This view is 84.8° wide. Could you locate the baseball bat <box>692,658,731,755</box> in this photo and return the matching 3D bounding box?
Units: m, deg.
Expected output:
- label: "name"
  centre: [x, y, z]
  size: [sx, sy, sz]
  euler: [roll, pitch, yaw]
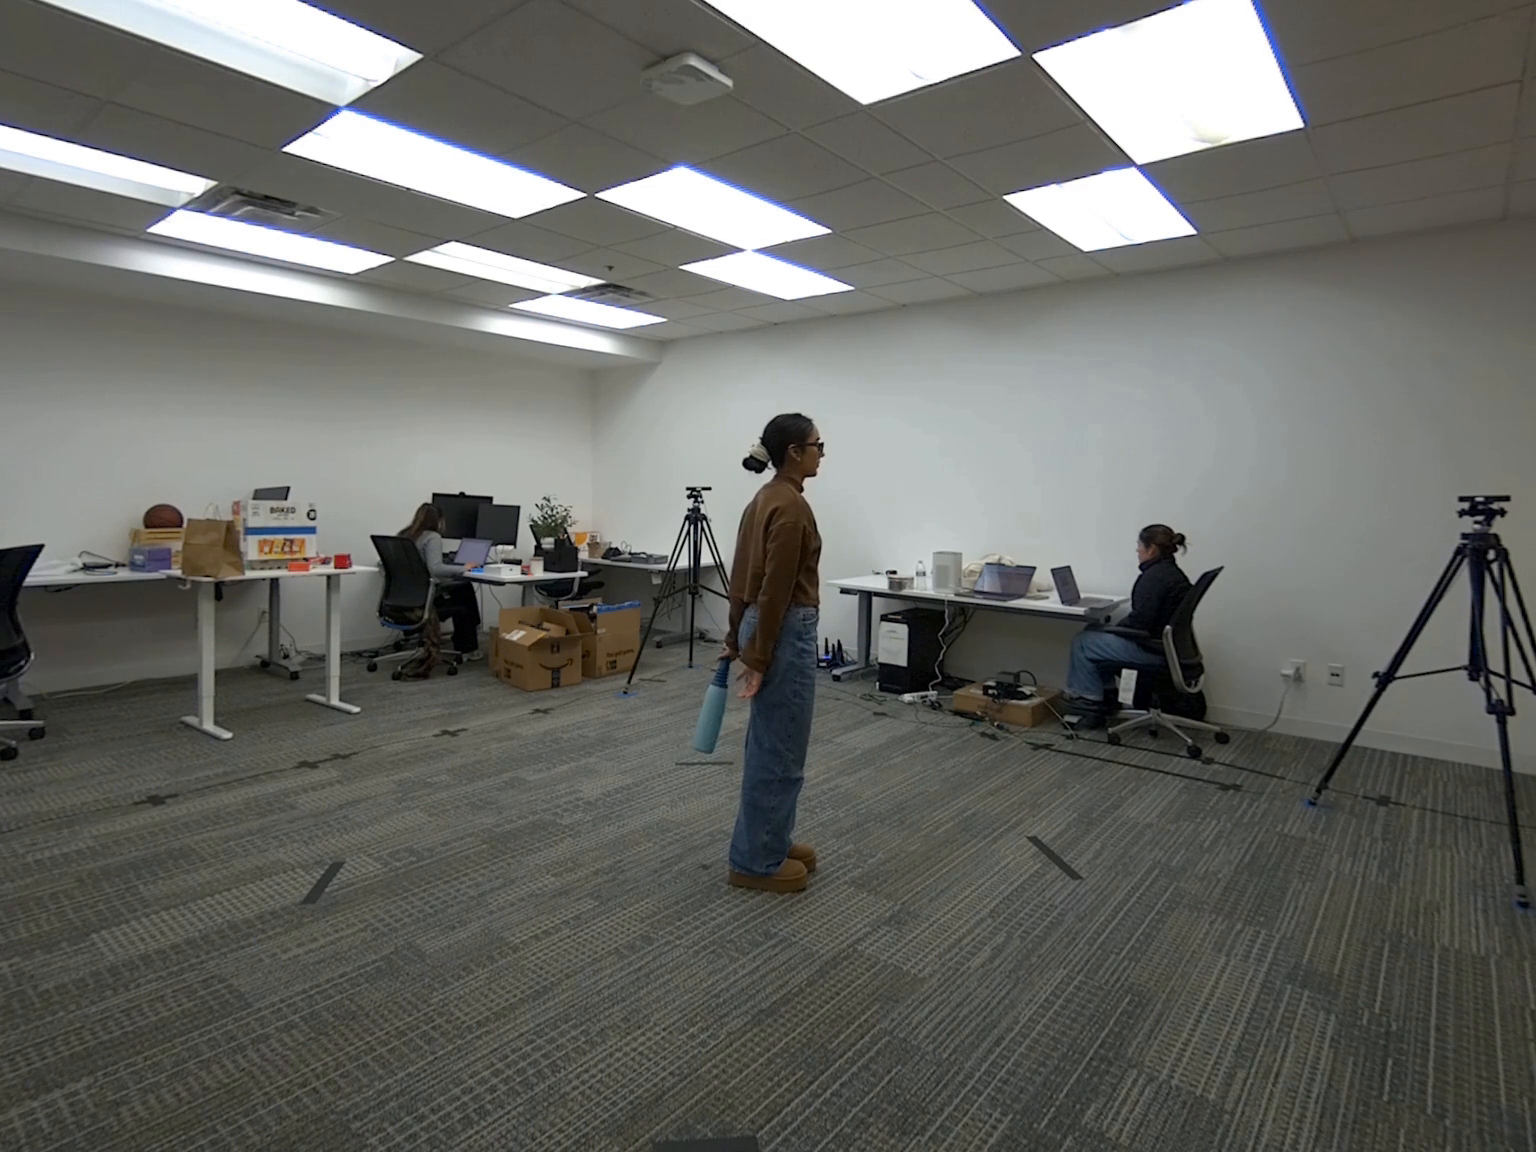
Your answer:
- label: "baseball bat"
  centre: [-0.171, 0.400, 3.234]
  size: [0.089, 0.547, 0.088]
  euler: [11, -9, 0]
